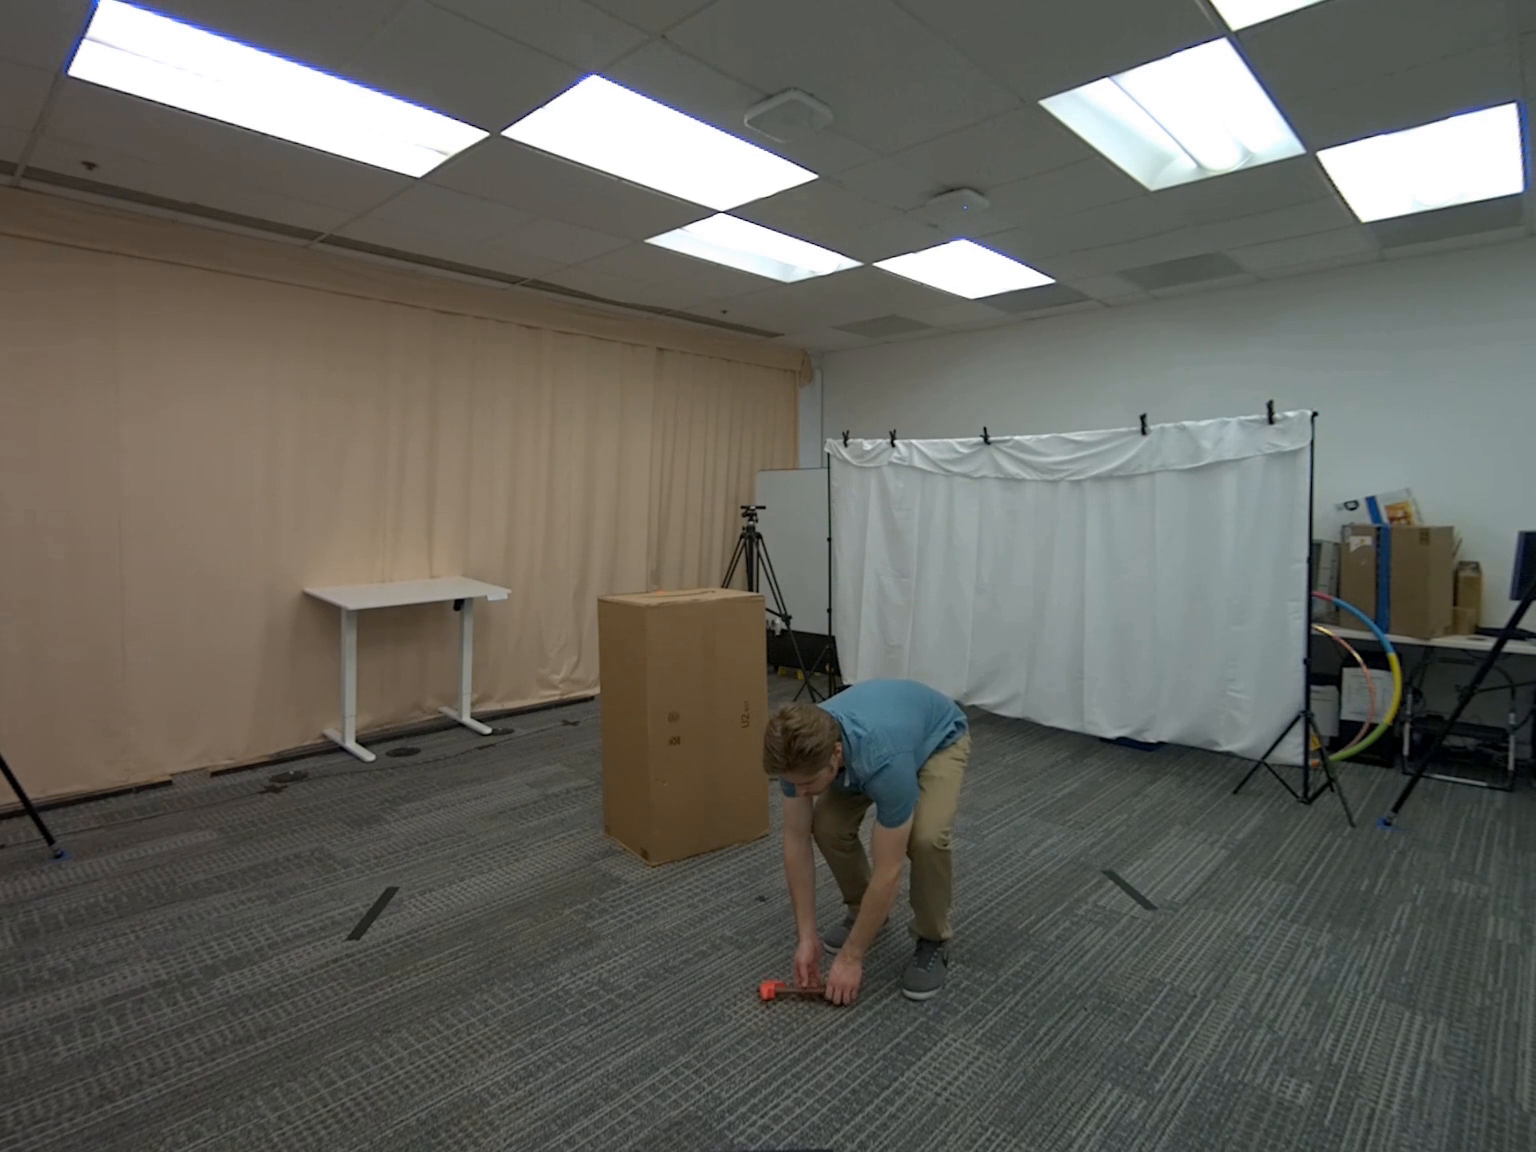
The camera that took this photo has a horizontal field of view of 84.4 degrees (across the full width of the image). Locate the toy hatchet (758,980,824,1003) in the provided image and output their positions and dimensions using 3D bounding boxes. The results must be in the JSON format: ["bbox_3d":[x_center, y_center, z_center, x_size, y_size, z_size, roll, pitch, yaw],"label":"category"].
[{"bbox_3d":[0.103,1.165,2.415,0.266,0.030,0.132,-2,-6,-15],"label":"toy hatchet"}]
